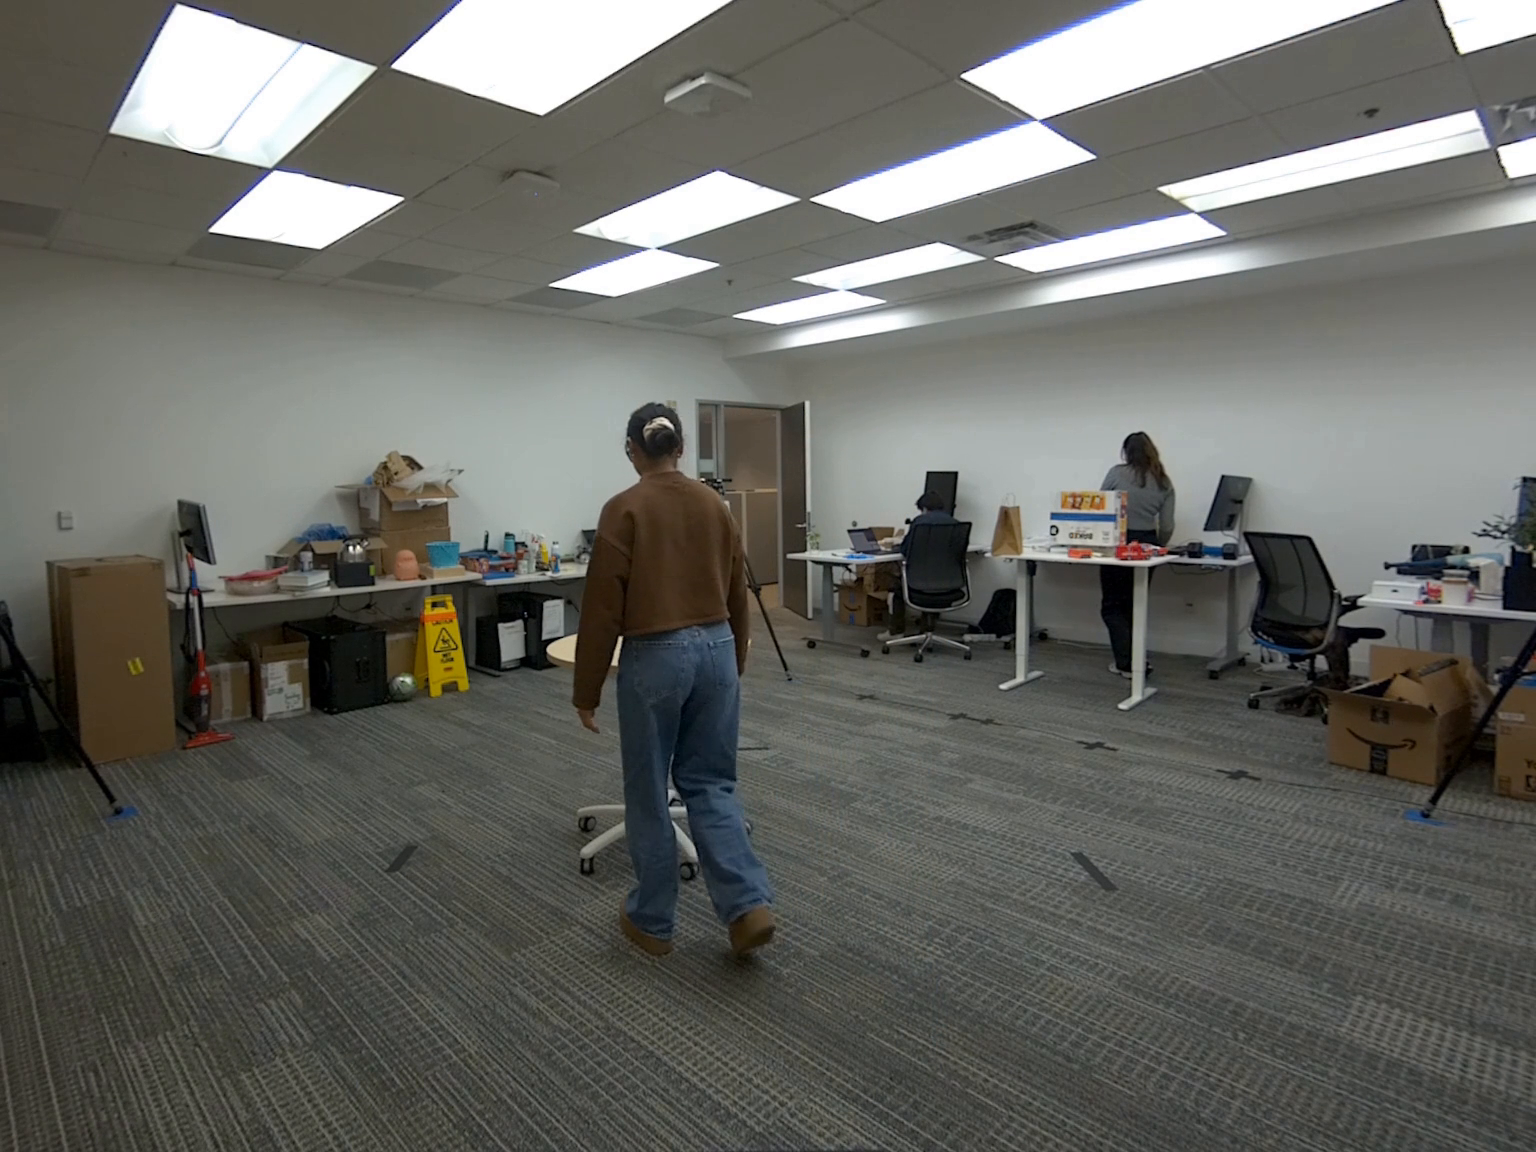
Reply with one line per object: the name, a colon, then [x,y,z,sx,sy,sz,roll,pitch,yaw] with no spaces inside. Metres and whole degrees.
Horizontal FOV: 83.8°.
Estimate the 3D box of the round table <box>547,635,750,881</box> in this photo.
round table: [-0.442,0.640,3.273,0.784,0.783,0.789,-2,5,-2]
